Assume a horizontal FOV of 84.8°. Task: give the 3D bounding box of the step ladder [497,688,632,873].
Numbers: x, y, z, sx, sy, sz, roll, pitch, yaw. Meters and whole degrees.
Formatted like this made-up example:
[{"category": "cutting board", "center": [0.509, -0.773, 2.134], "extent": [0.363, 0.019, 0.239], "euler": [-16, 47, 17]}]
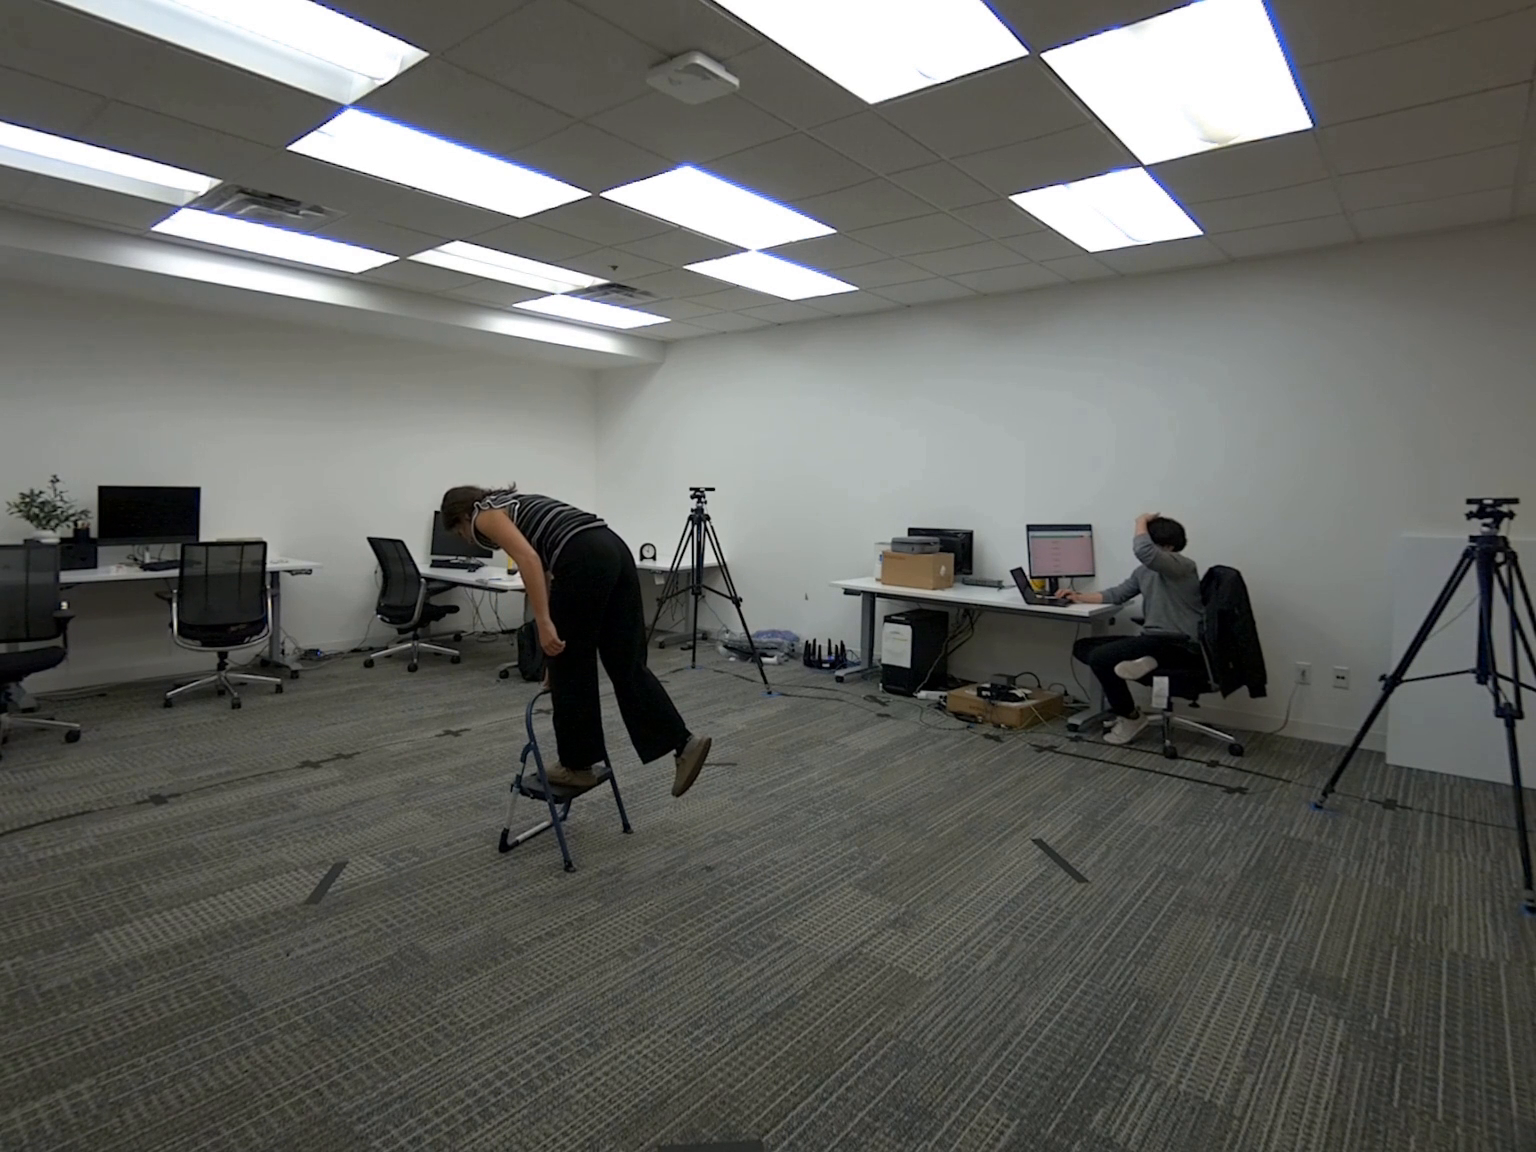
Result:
[{"category": "step ladder", "center": [-0.789, 0.737, 3.310], "extent": [0.358, 0.605, 0.421], "euler": [3, 3, 24]}]
